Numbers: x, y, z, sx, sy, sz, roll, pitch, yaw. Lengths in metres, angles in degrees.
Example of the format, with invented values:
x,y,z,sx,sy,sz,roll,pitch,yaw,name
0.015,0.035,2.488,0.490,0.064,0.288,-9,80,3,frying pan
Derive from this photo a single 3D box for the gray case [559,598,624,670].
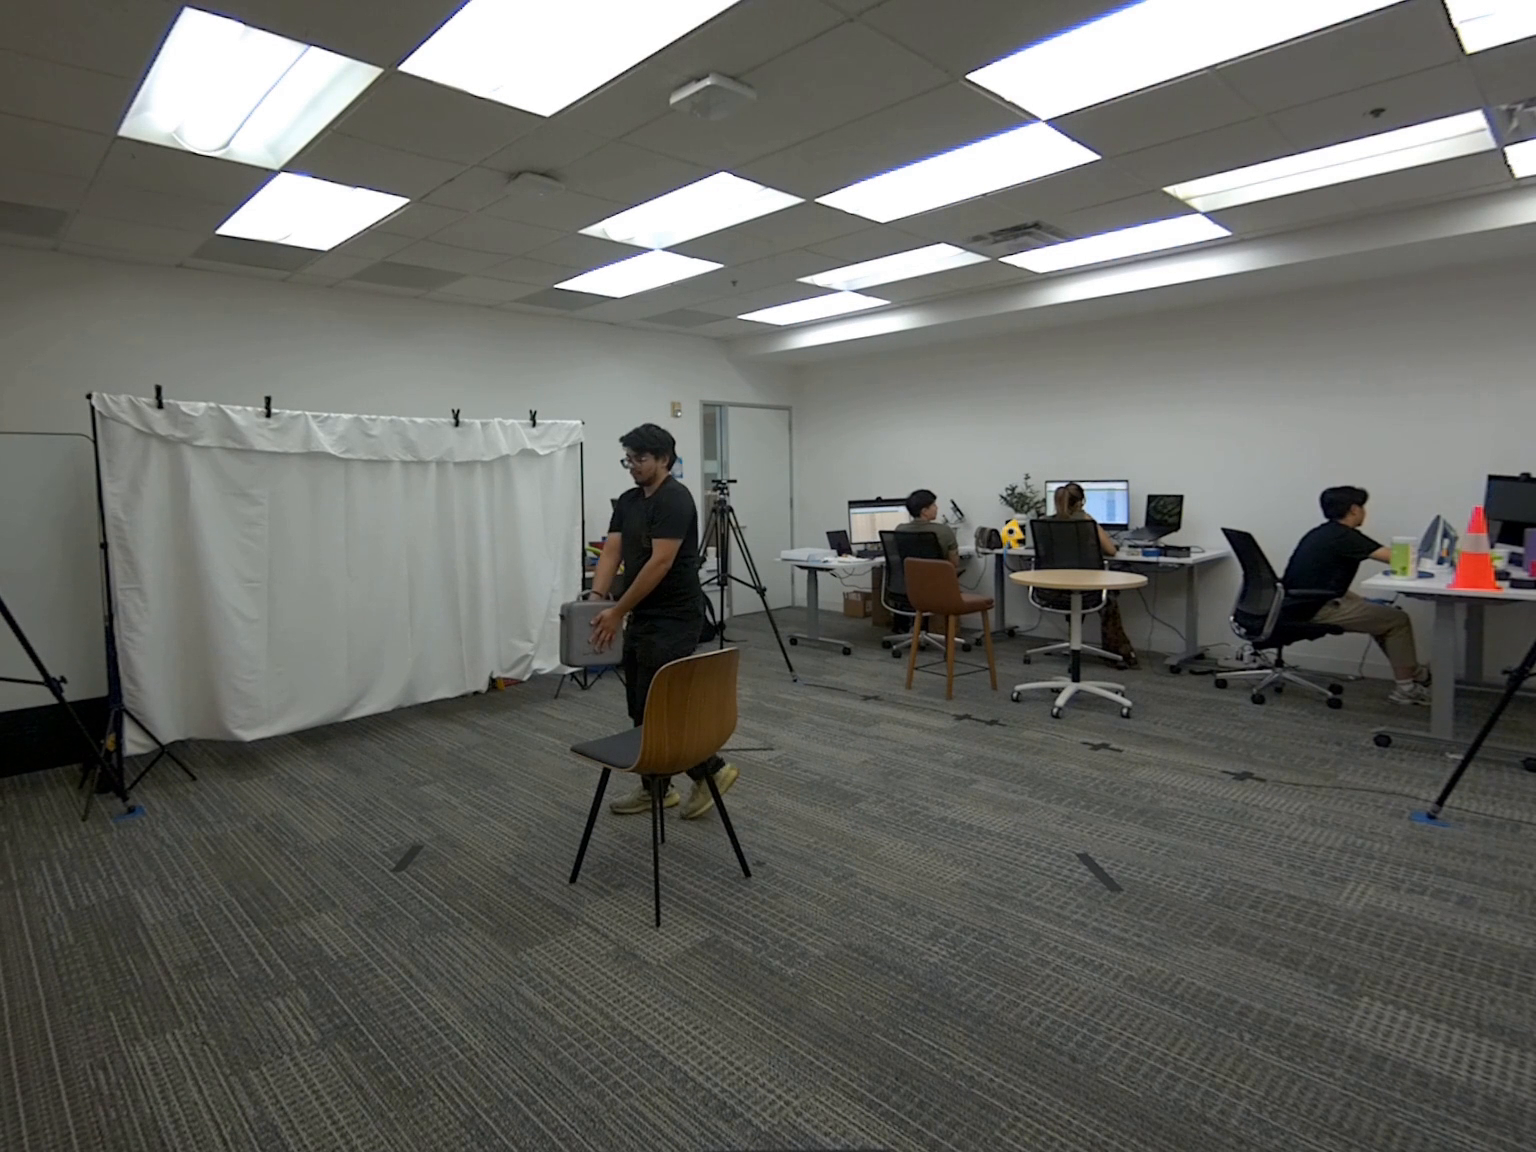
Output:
x,y,z,sx,sy,sz,roll,pitch,yaw,name
-0.695,0.224,3.370,0.107,0.261,0.249,-3,-4,45,gray case
